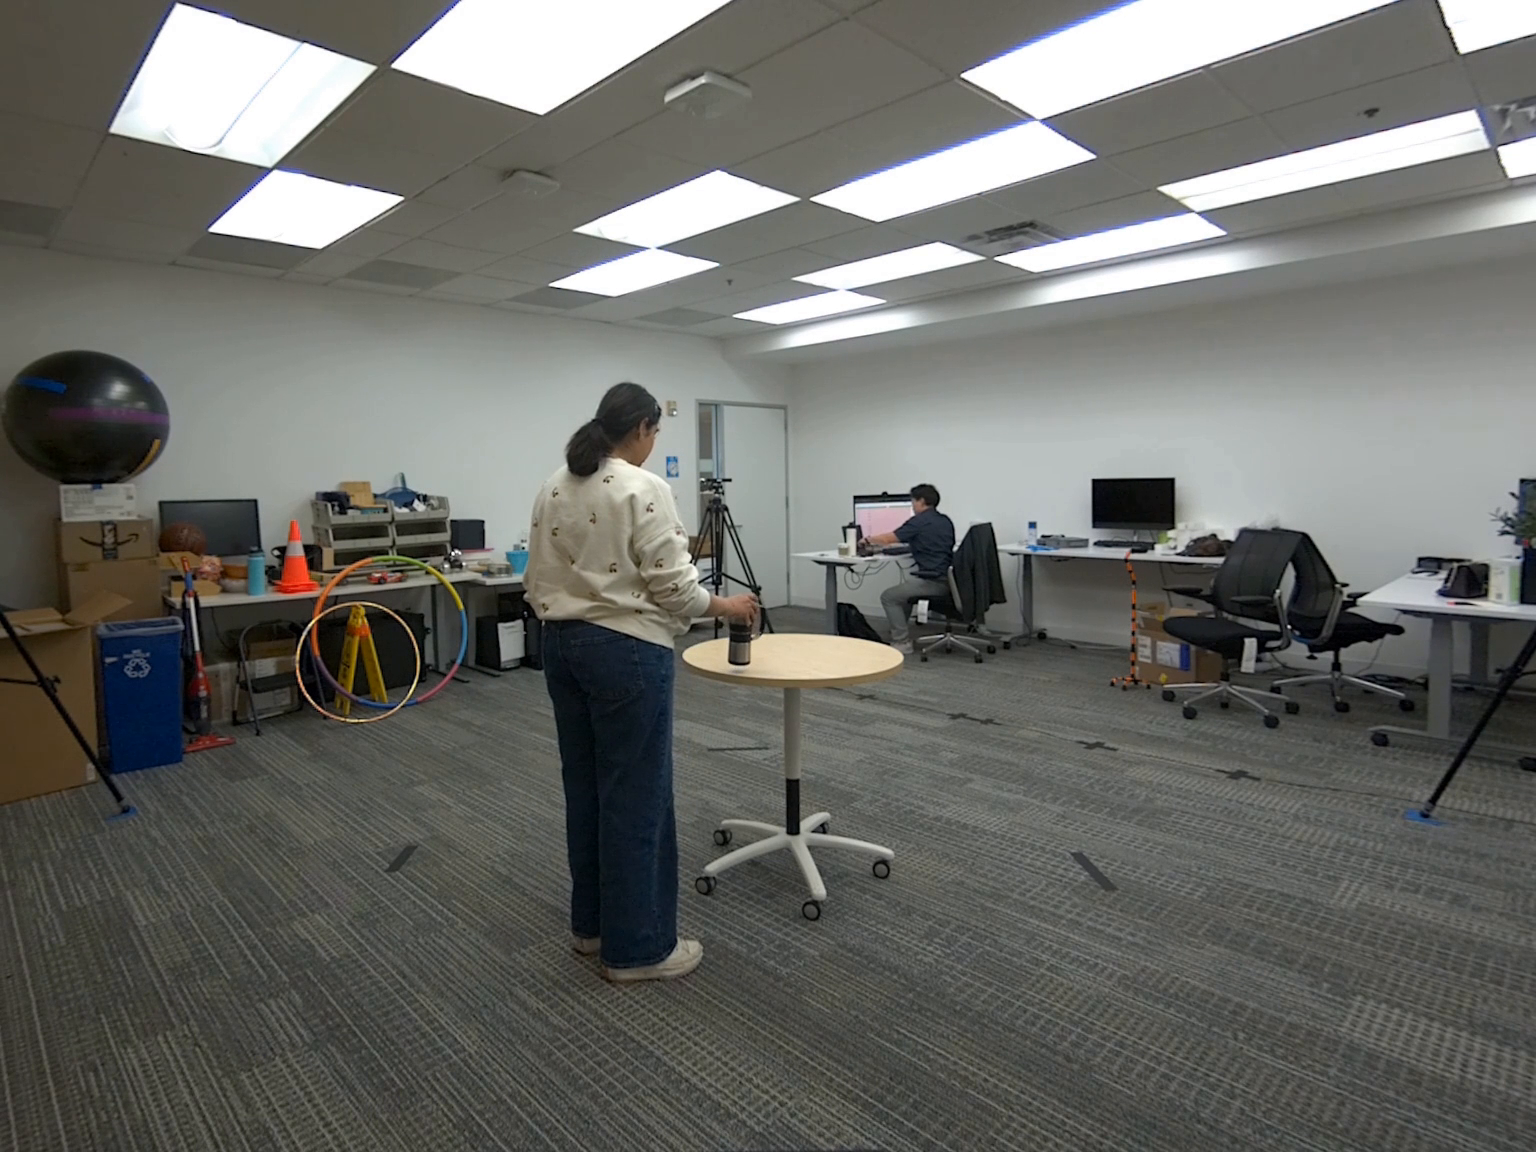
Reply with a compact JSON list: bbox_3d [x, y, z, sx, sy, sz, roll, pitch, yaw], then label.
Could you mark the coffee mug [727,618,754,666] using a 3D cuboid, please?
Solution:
[{"bbox_3d":[-0.061,0.182,2.691,0.122,0.202,0.088,0,3,4],"label":"coffee mug"}]
